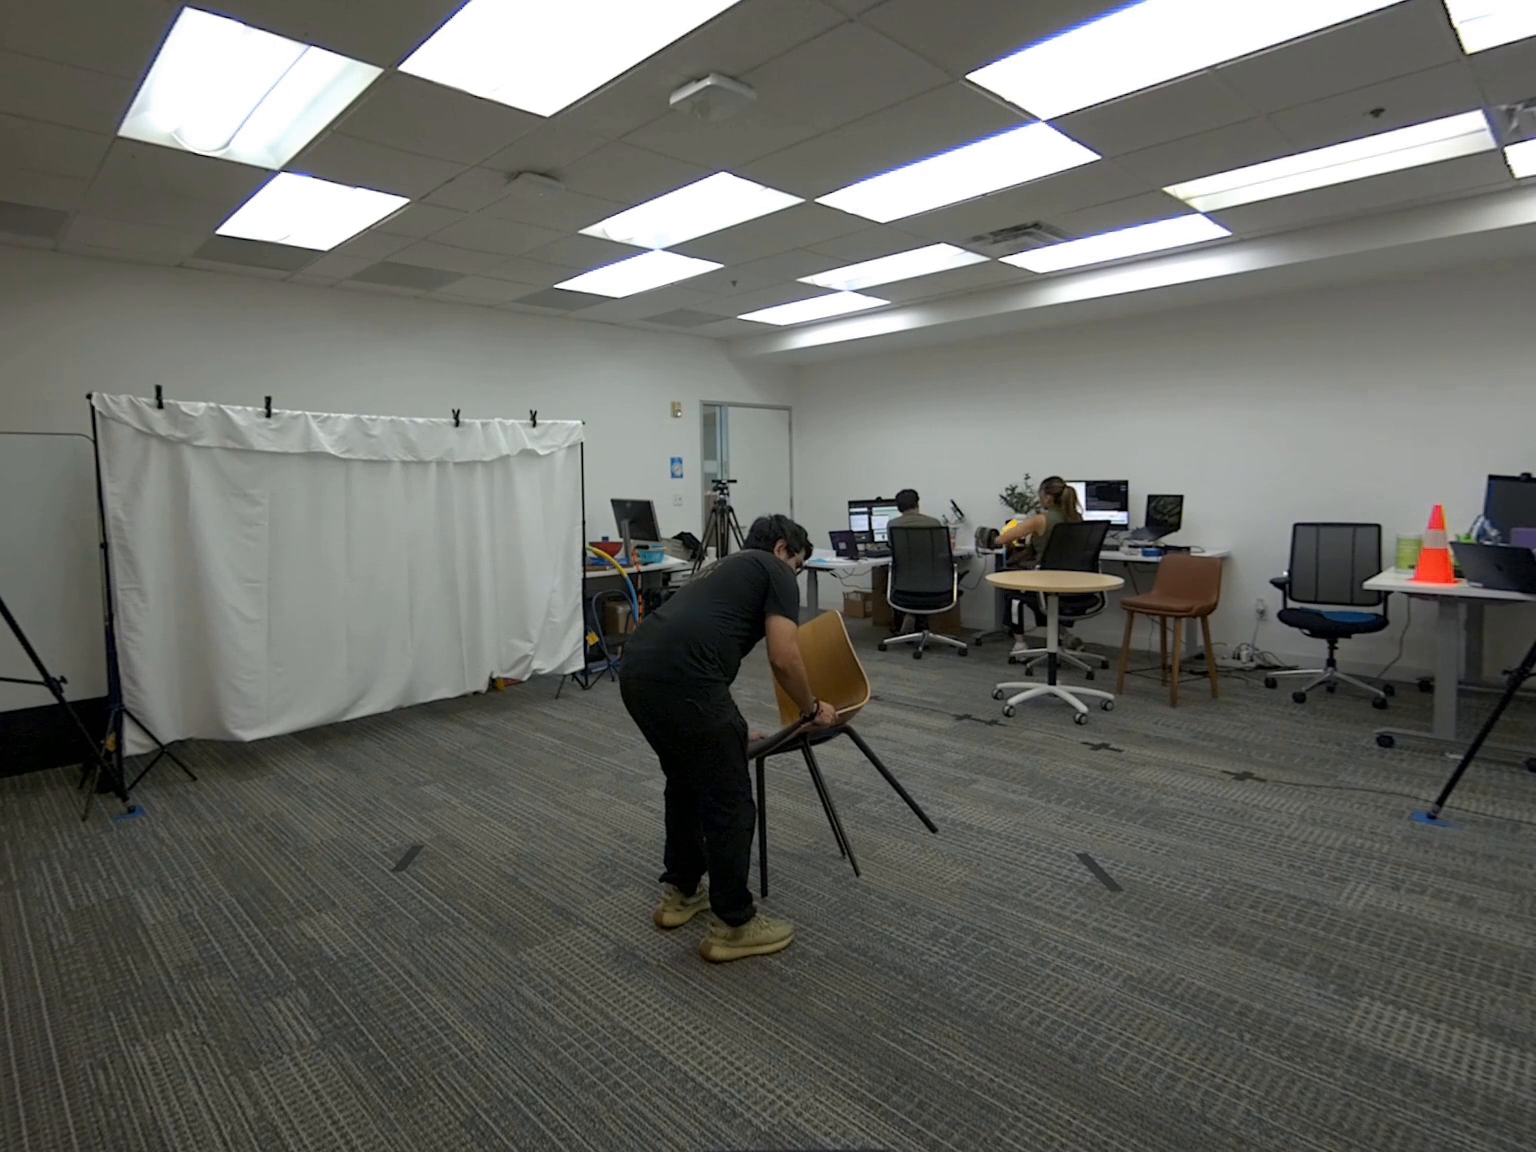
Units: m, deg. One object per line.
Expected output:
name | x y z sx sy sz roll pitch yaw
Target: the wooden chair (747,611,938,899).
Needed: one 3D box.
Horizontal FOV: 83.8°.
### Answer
wooden chair | 0.130 0.580 2.967 0.508 0.895 0.482 0 -24 -44
